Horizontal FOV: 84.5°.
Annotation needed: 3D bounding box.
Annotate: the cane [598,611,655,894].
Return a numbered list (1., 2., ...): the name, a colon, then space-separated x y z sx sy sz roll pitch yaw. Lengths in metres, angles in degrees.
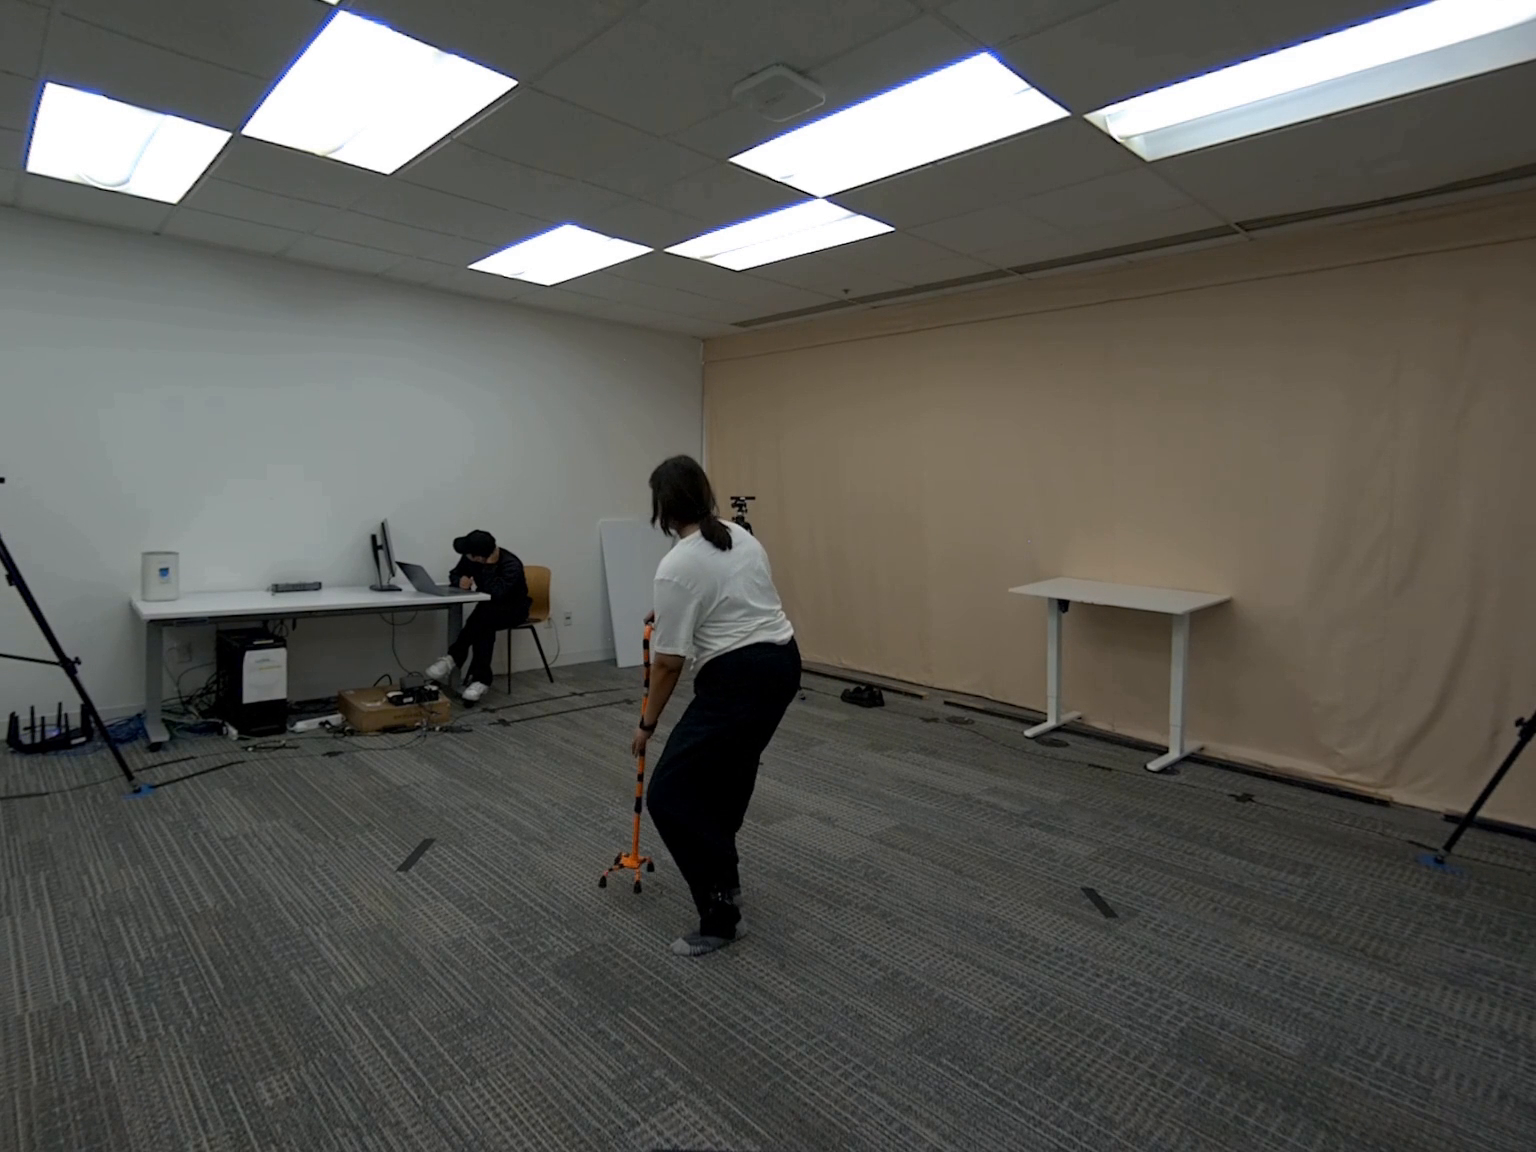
1. cane: -0.458 0.595 2.903 0.152 0.906 0.206 5 3 5
